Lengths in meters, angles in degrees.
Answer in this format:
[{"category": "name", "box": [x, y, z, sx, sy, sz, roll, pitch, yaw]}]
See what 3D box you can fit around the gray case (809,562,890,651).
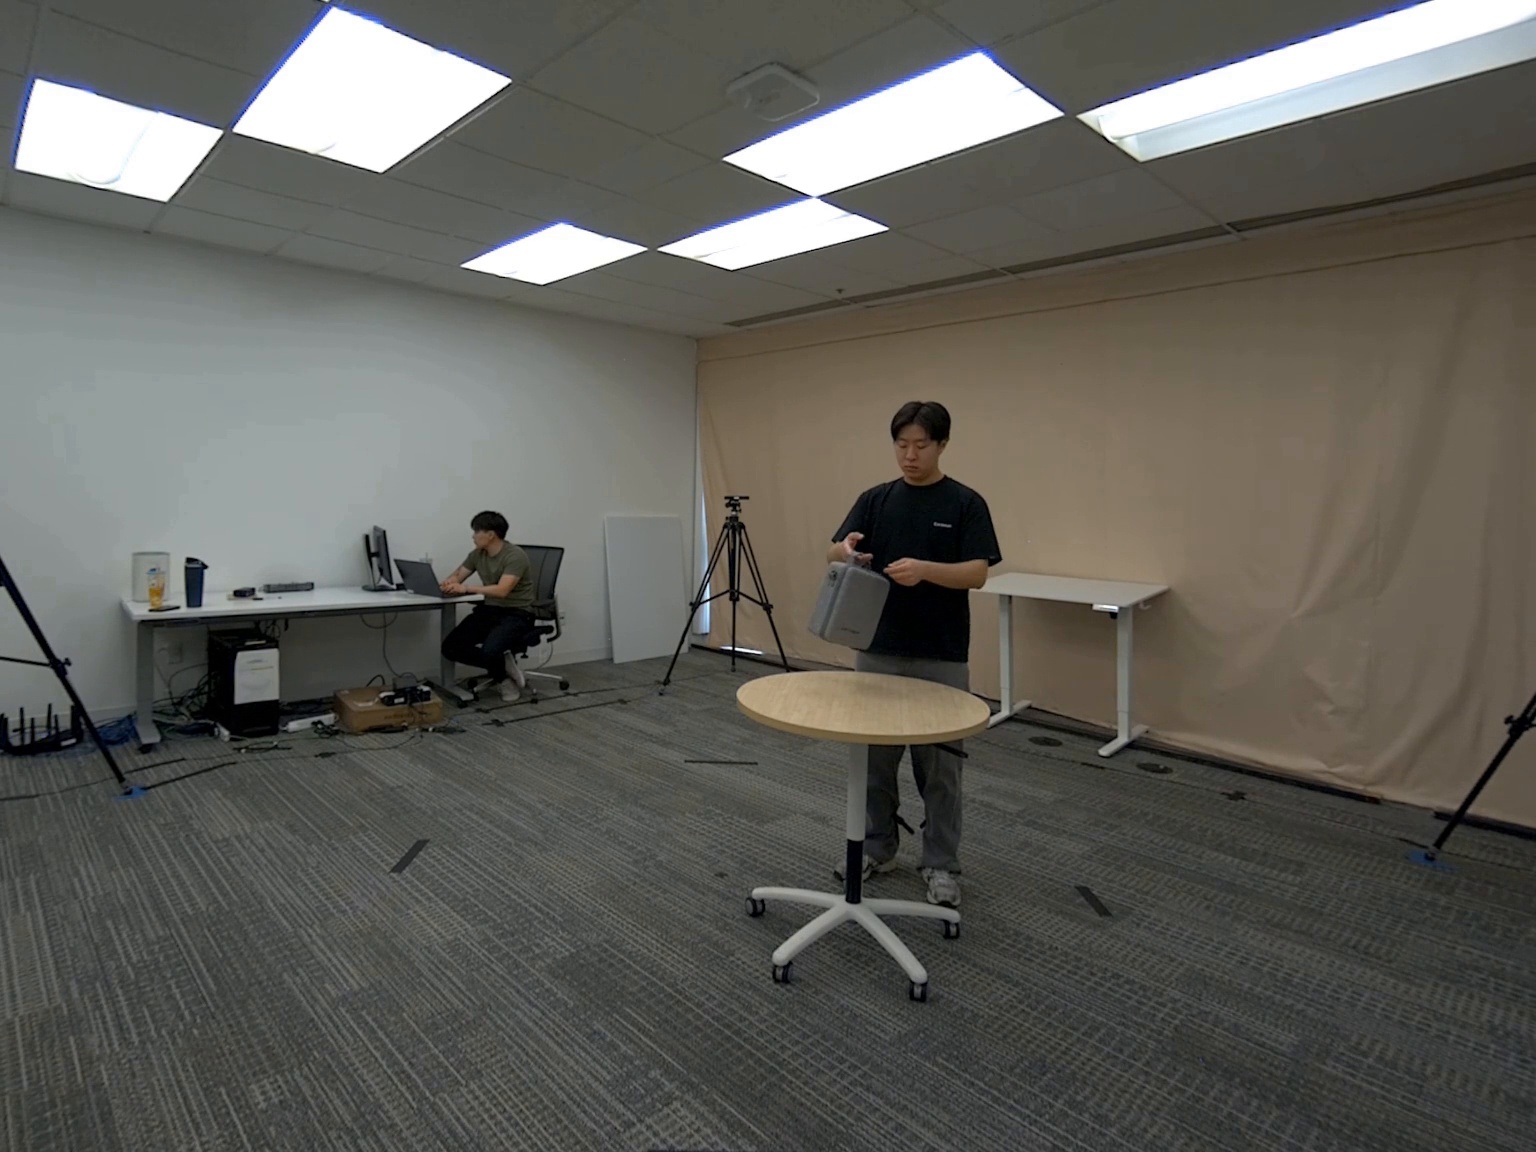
[{"category": "gray case", "box": [0.266, 0.095, 2.743, 0.106, 0.287, 0.255, 16, -1, 41]}]
